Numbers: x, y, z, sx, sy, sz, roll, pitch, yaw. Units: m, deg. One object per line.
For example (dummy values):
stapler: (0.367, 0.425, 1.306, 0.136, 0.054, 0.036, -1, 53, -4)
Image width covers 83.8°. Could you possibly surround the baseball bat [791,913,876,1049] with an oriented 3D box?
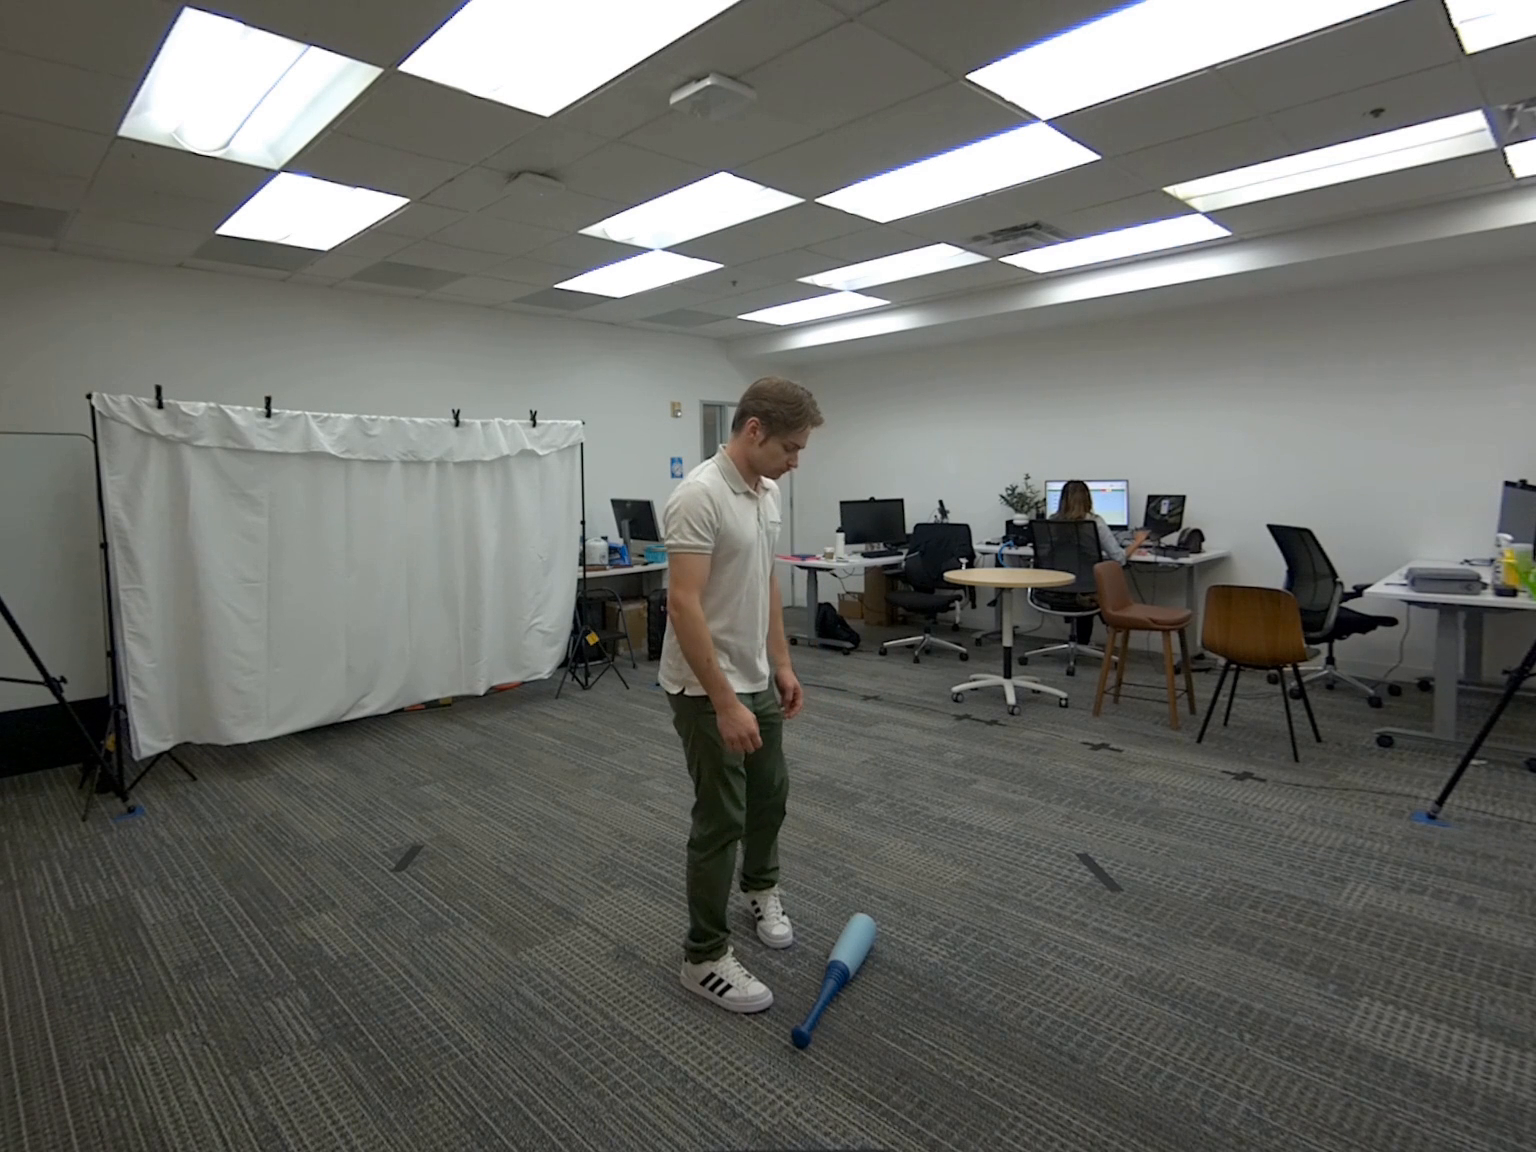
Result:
baseball bat: (0.192, 1.101, 2.328, 0.091, 0.088, 0.535, 1, 10, 23)
